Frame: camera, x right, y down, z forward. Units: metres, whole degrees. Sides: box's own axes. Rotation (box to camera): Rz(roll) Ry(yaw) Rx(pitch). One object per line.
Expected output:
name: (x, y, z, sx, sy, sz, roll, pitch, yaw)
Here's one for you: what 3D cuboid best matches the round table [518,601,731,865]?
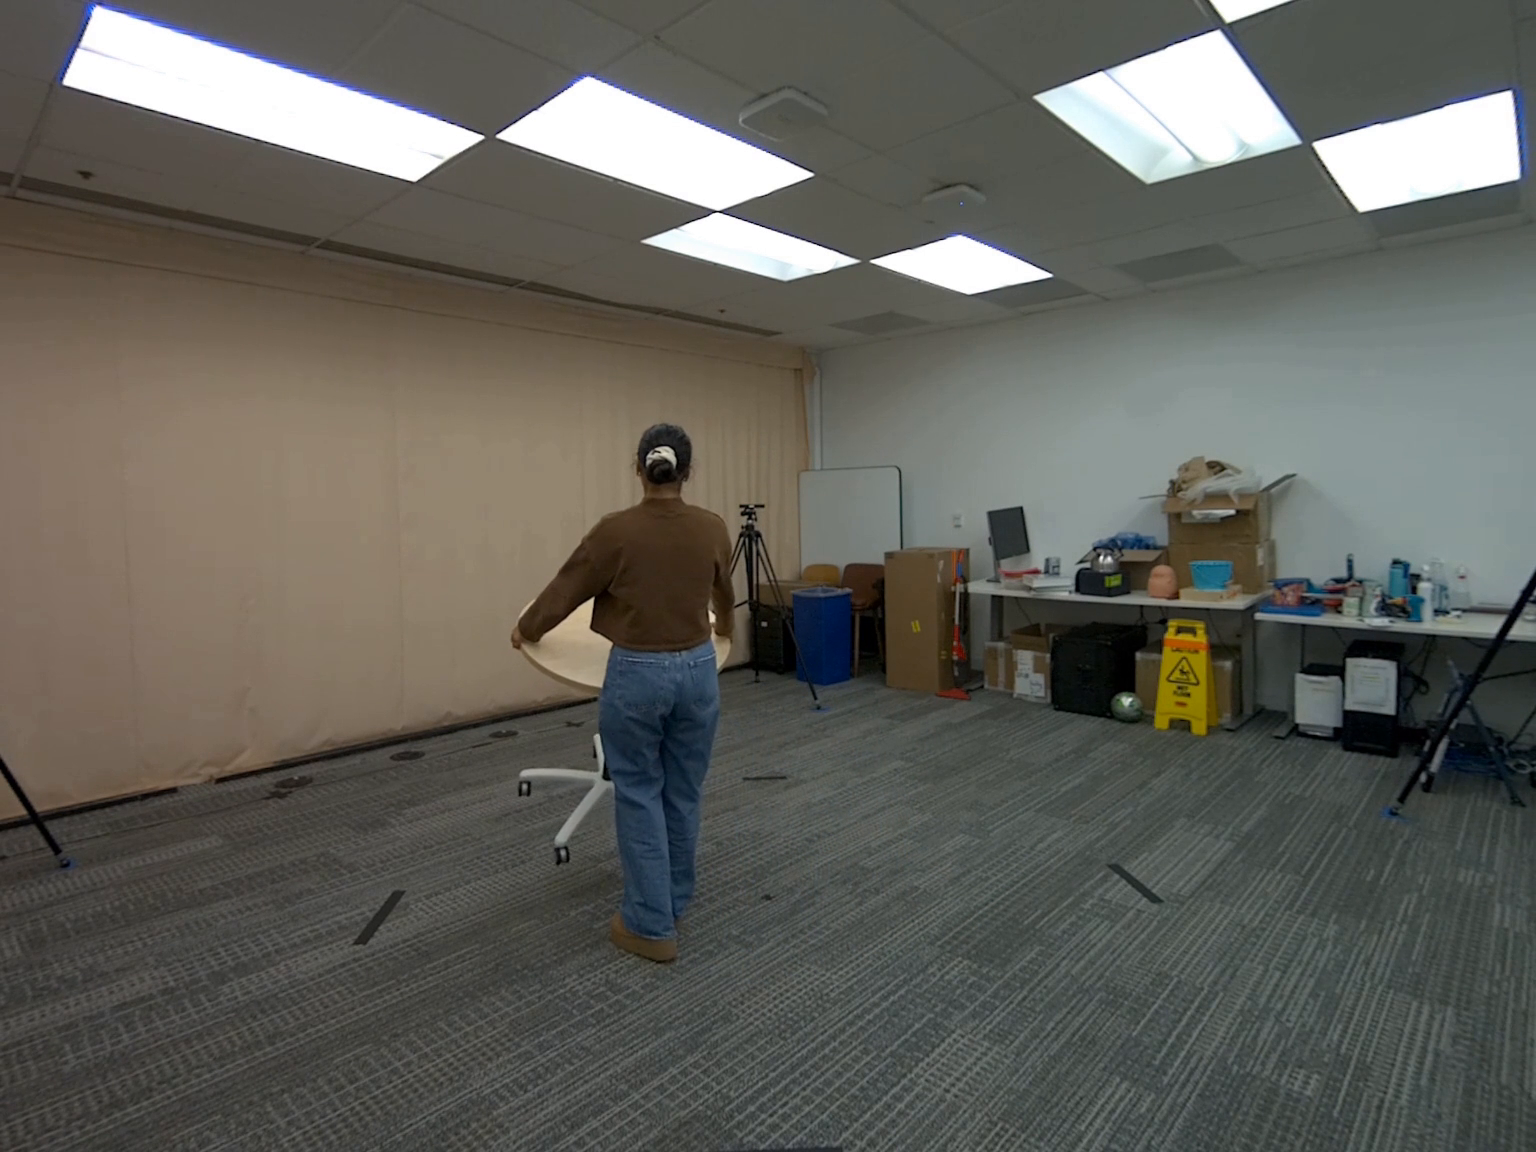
round table: (-0.597, 0.551, 3.192, 0.781, 0.779, 0.797, 7, 24, -5)
